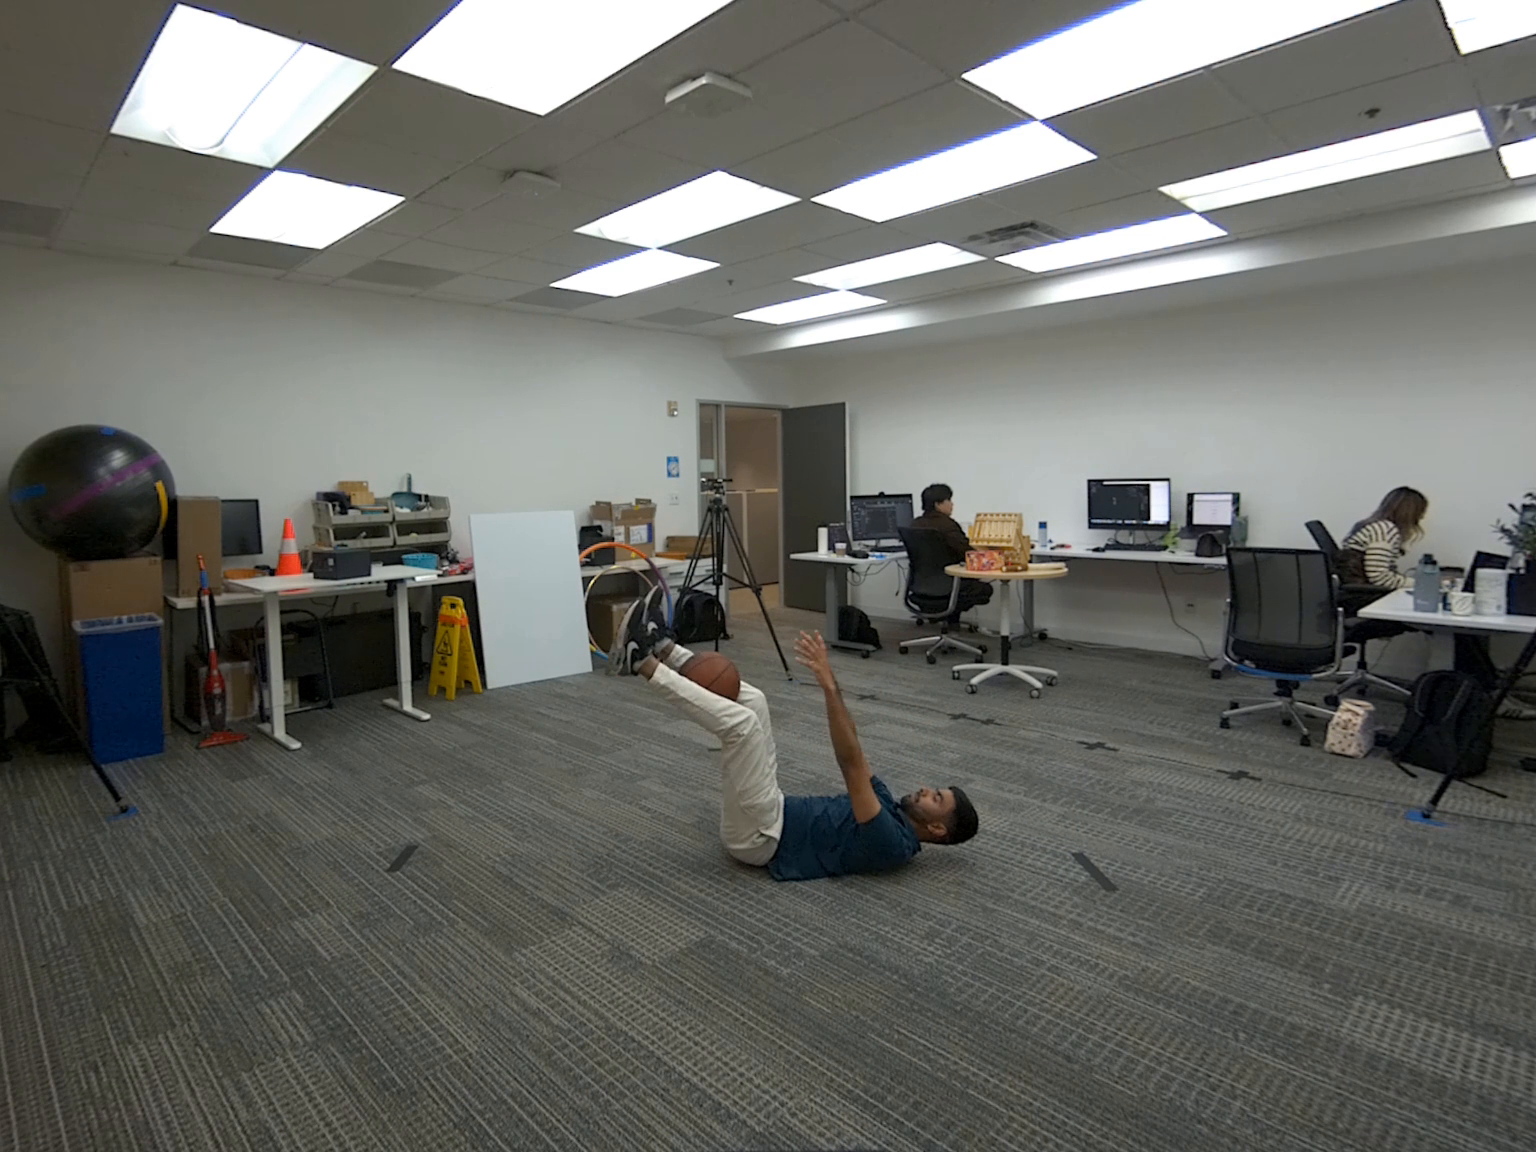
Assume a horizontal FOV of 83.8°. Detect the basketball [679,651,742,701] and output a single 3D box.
[{"bbox_3d":[-0.228,0.399,3.145,0.236,0.235,0.237,-1,5,-2],"label":"basketball"}]
